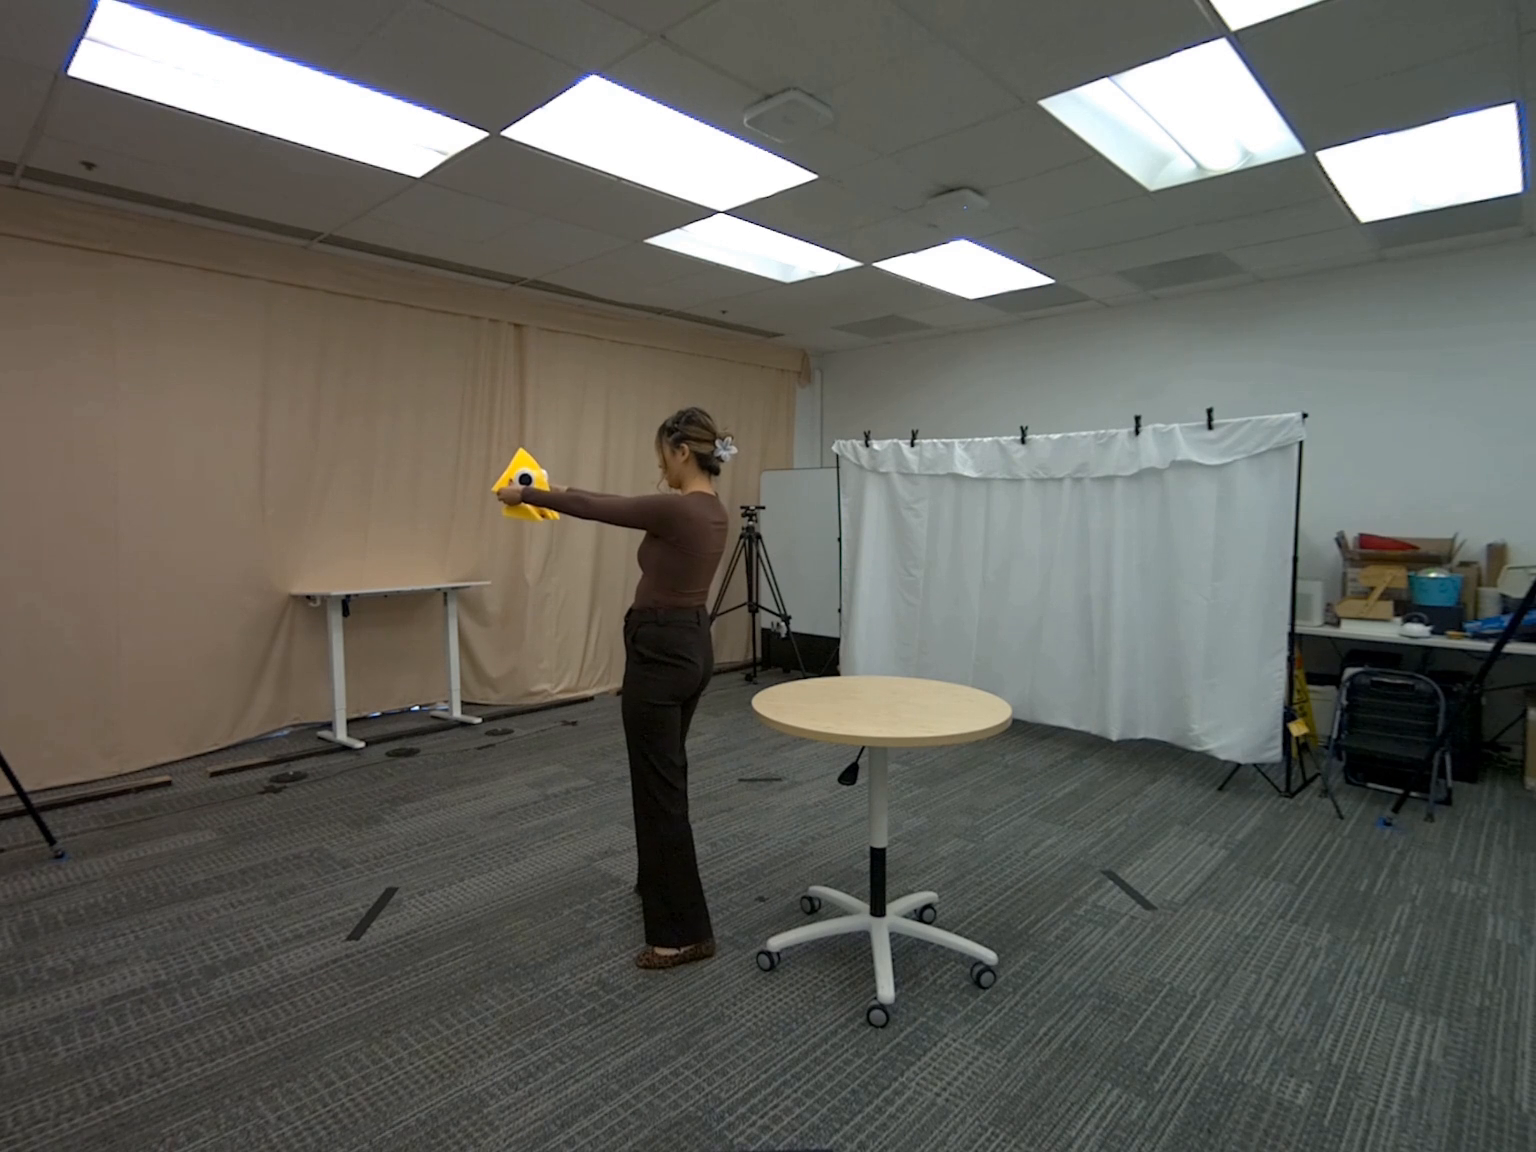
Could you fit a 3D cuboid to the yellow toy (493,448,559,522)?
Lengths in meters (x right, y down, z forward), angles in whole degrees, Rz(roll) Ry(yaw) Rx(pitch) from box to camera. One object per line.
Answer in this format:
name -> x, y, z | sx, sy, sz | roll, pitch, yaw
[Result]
yellow toy -> -0.819, -0.323, 2.911 | 0.197, 0.230, 0.202 | 10, 7, 15
